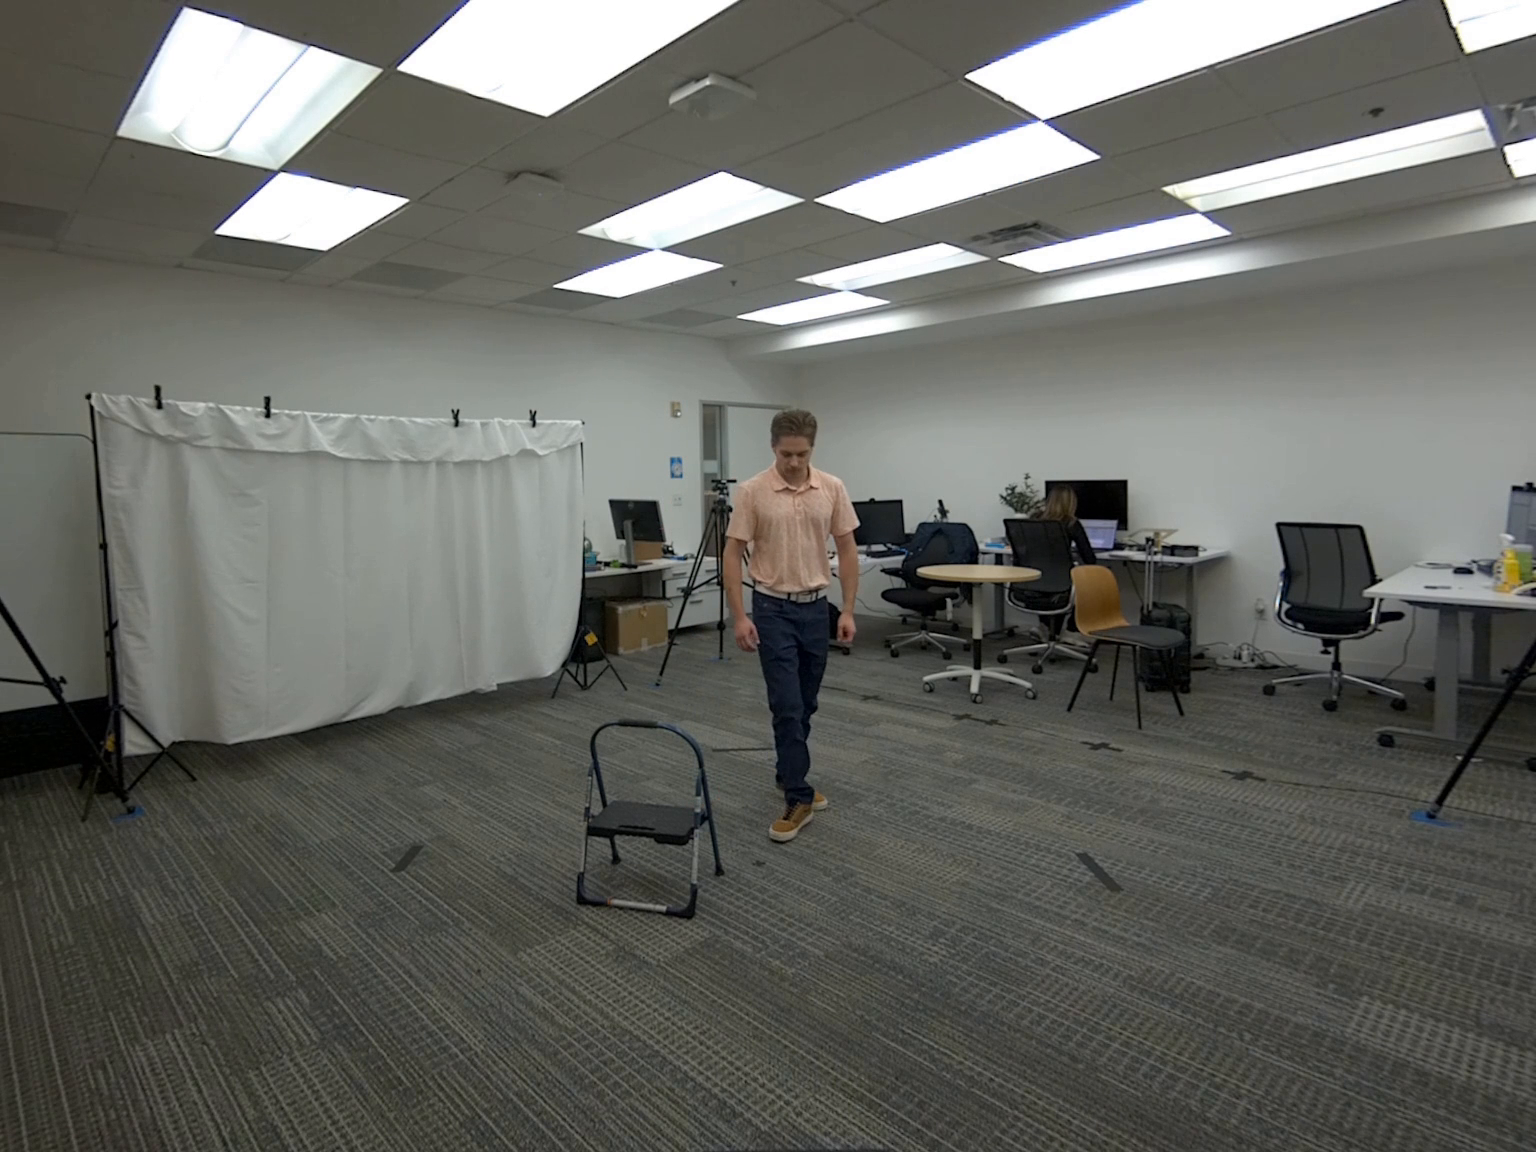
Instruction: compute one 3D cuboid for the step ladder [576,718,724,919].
[{"bbox_3d":[-0.406,0.772,2.922,0.437,0.604,0.345,0,4,15],"label":"step ladder"}]
